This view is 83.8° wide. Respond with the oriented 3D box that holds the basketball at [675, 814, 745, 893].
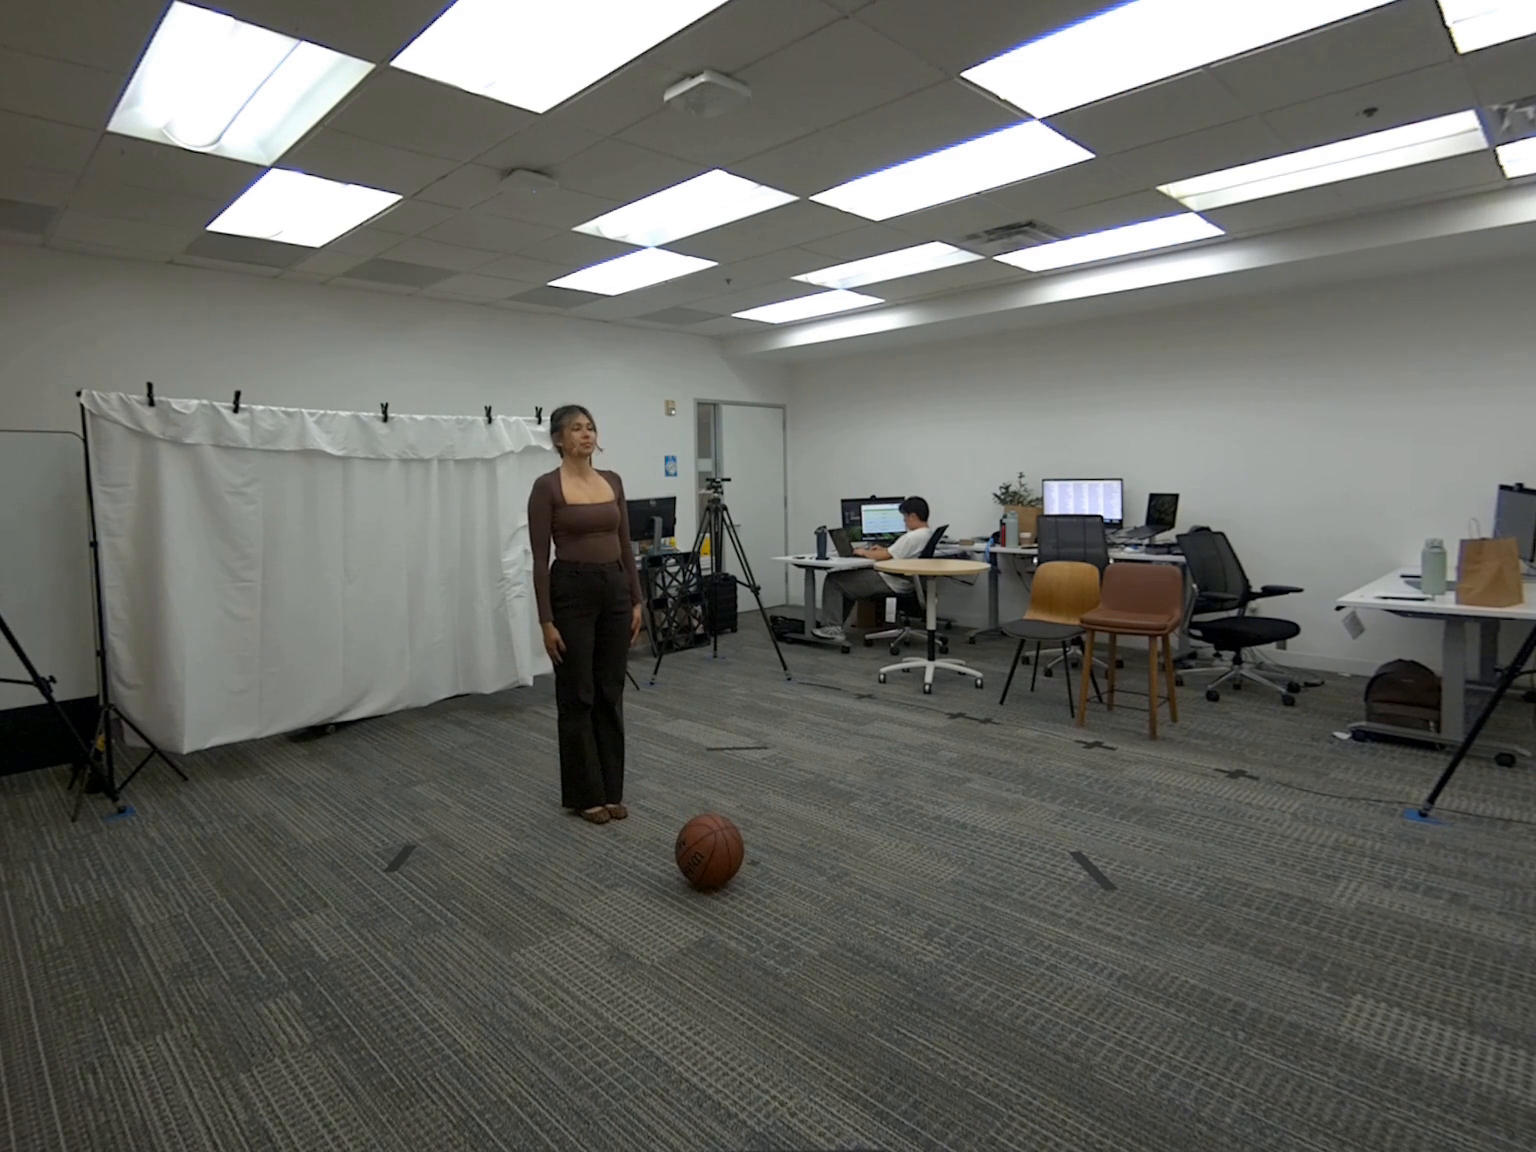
[{"bbox_3d":[-0.198,0.943,2.941,0.236,0.235,0.237,-1,5,-2],"label":"basketball"}]
